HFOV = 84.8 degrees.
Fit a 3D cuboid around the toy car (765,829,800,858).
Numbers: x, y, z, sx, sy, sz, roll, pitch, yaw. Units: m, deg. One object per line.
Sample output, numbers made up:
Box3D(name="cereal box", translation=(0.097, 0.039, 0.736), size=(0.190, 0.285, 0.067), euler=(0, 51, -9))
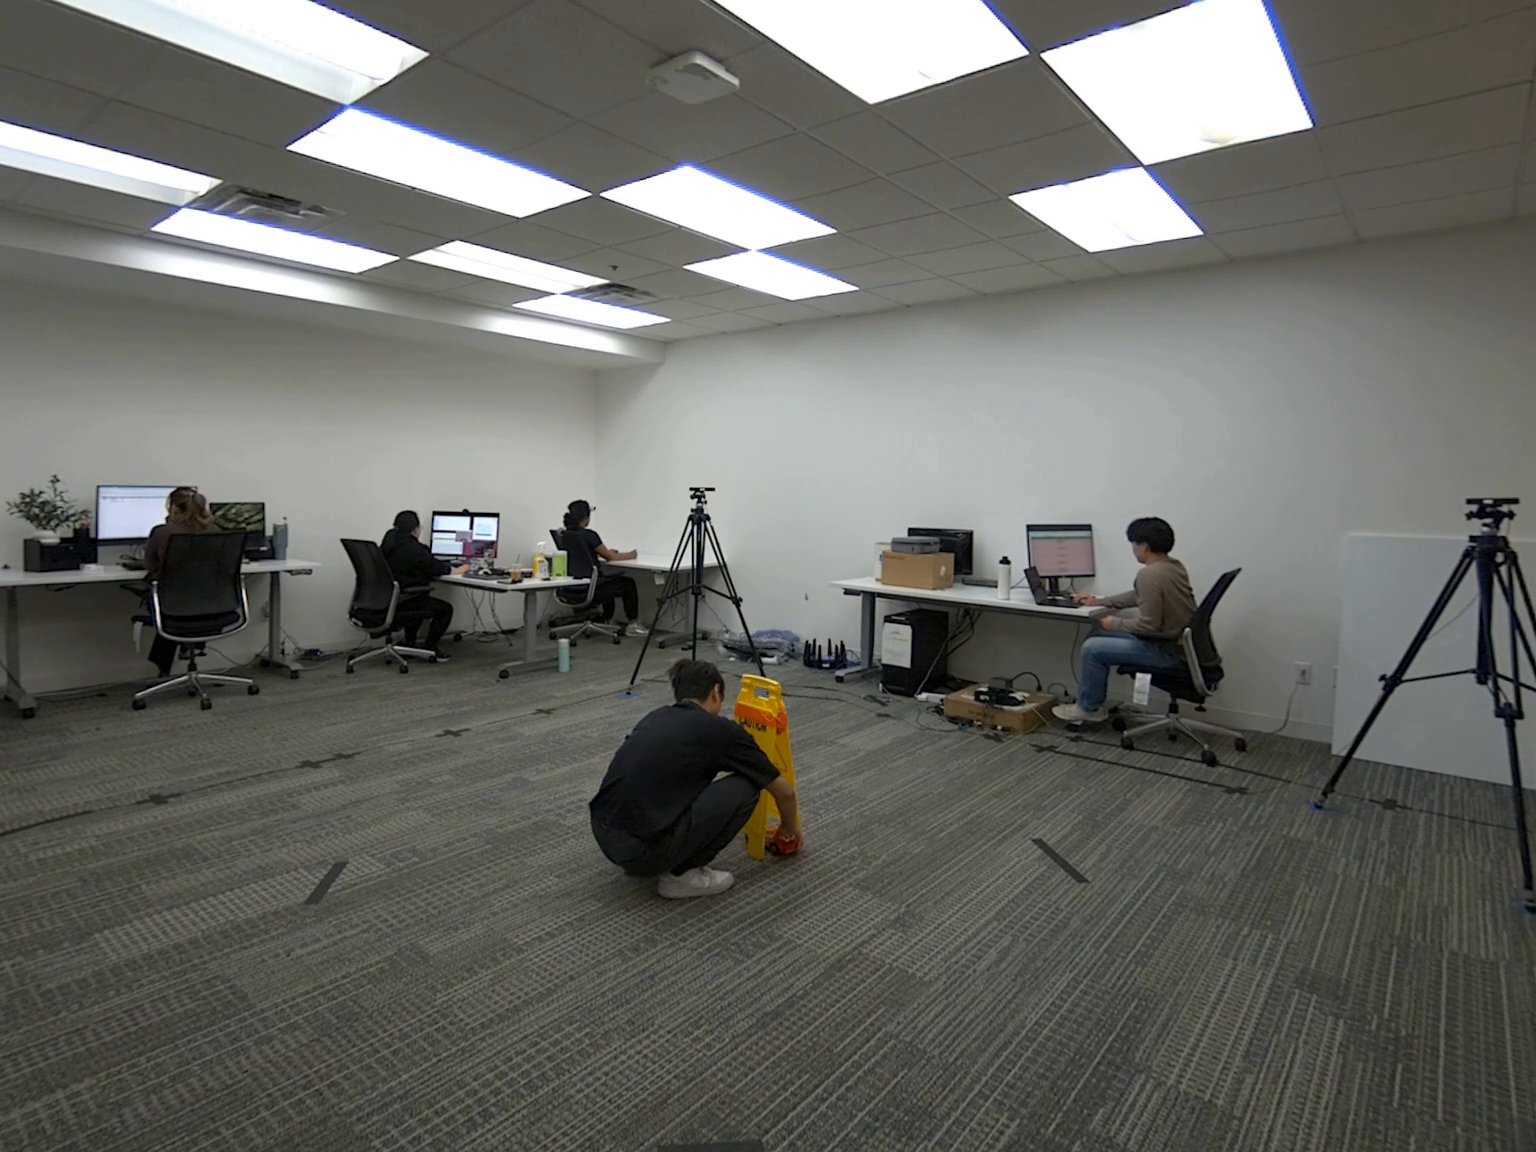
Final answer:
Box3D(name="toy car", translation=(0.009, 1.038, 3.310), size=(0.126, 0.084, 0.261), euler=(-1, -5, -41))
